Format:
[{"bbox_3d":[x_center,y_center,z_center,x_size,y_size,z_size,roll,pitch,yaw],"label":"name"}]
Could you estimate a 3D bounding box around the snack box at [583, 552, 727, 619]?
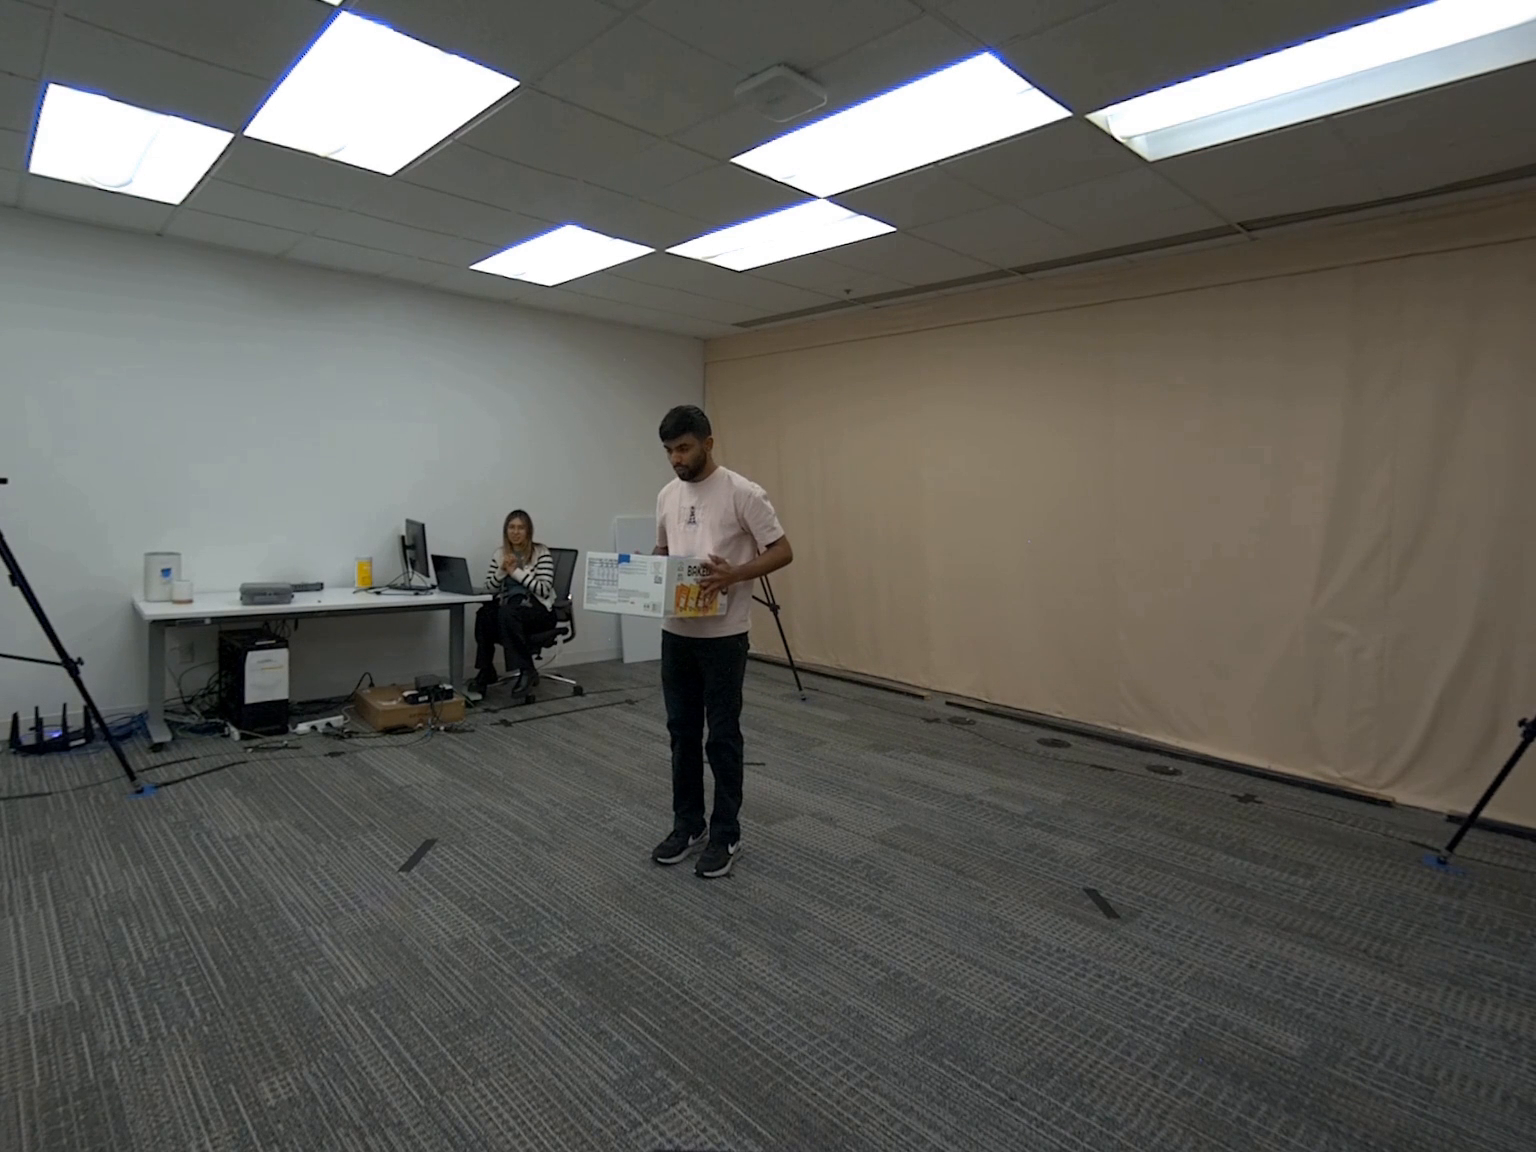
[{"bbox_3d":[-0.400,0.028,2.972,0.348,0.206,0.396,4,0,30],"label":"snack box"}]
